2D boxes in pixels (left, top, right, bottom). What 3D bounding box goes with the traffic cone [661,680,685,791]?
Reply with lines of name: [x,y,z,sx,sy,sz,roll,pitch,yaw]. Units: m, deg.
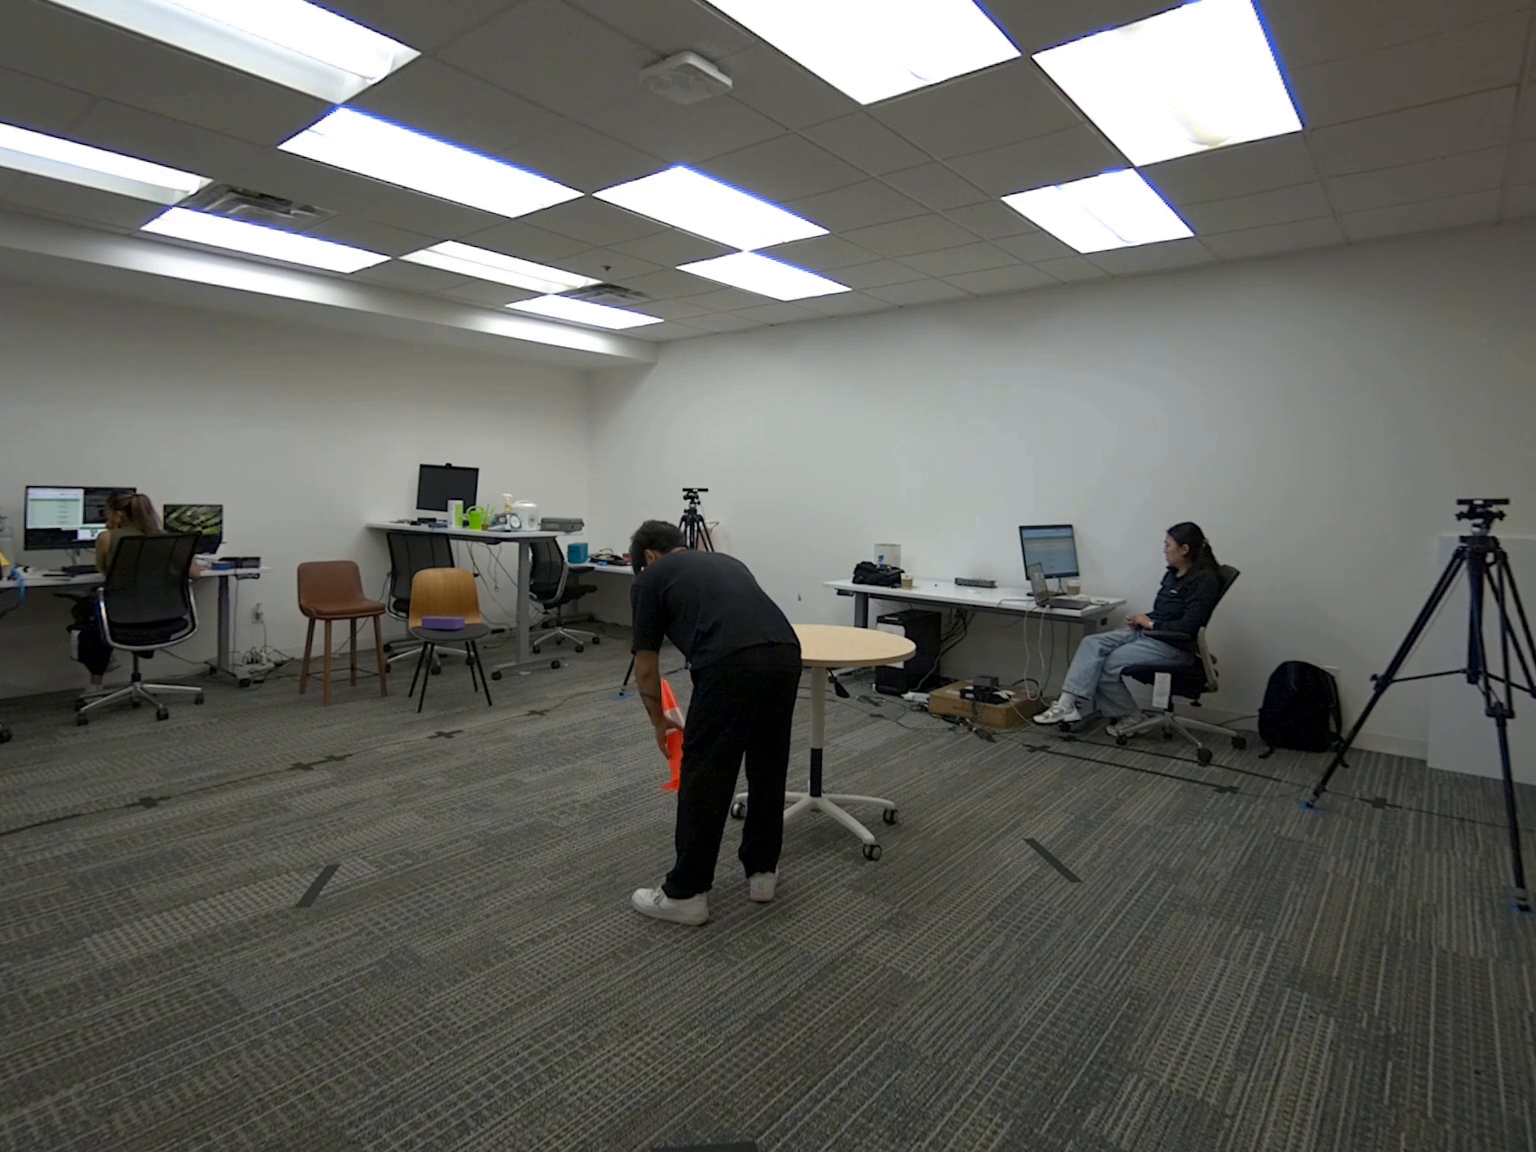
traffic cone: [-0.341,0.558,3.087,0.206,0.395,0.196,-28,-26,14]
